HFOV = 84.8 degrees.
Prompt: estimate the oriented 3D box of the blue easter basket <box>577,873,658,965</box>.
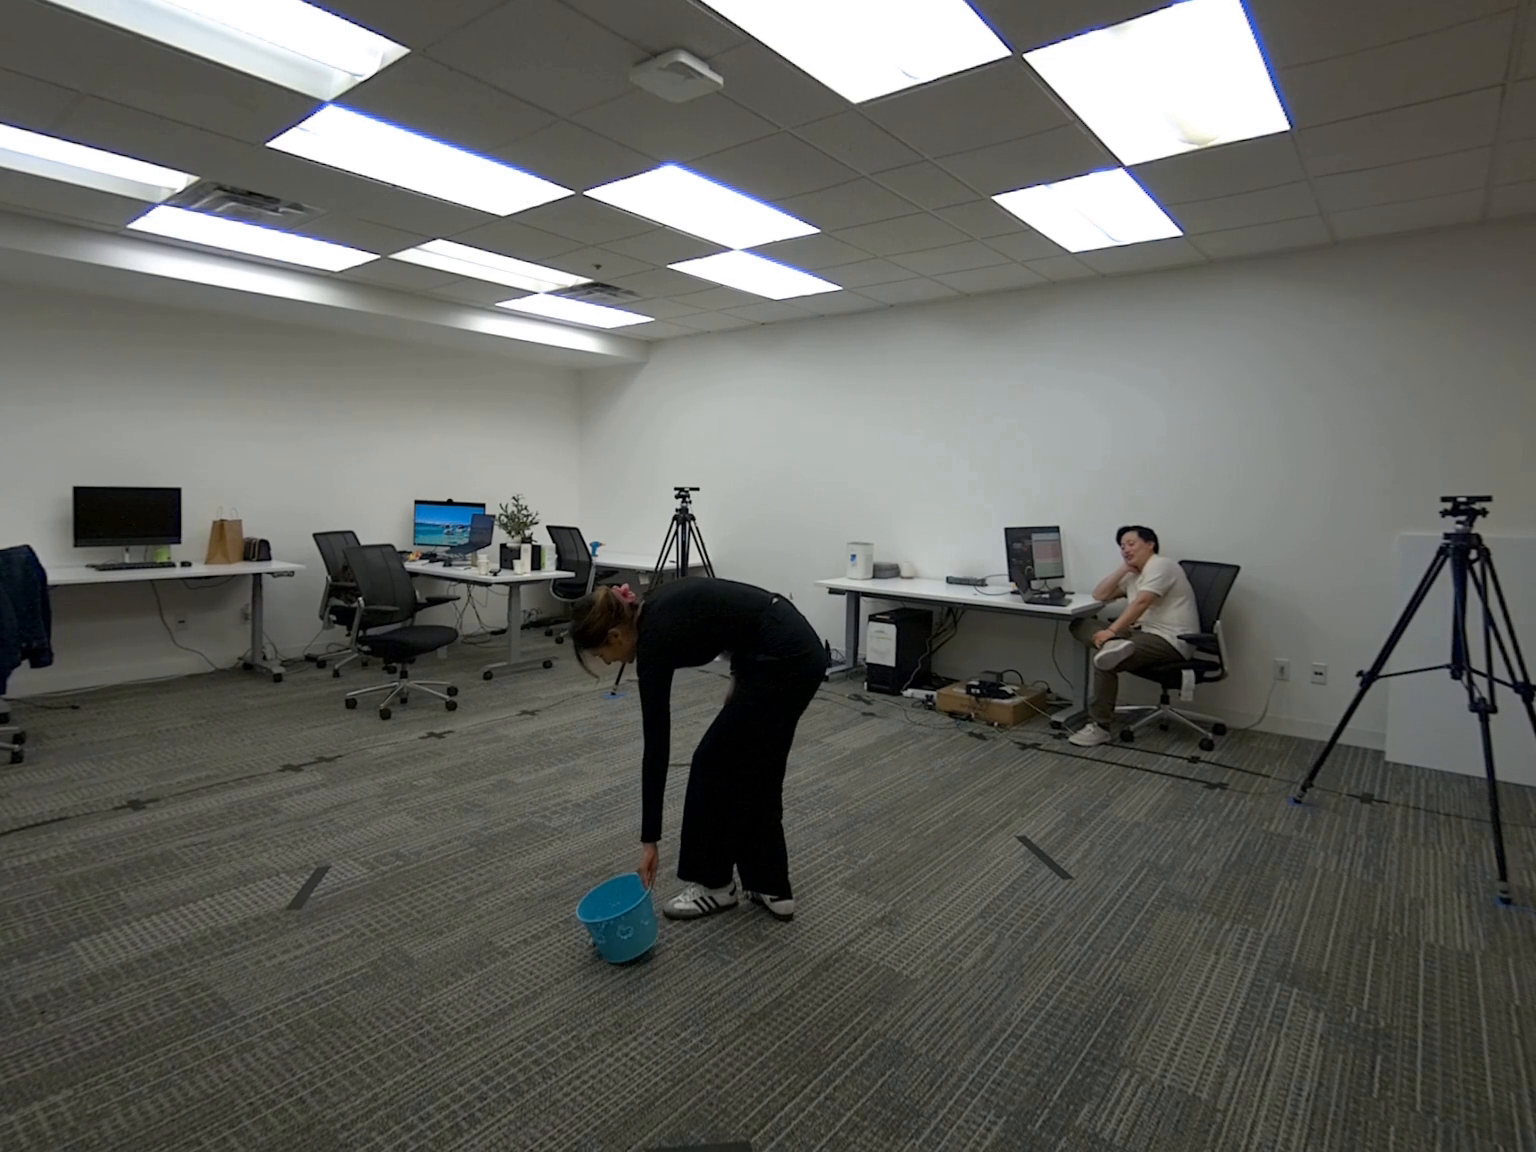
[{"bbox_3d":[-0.445,1.018,2.532,0.244,0.154,0.246,-18,10,1],"label":"blue easter basket"}]
